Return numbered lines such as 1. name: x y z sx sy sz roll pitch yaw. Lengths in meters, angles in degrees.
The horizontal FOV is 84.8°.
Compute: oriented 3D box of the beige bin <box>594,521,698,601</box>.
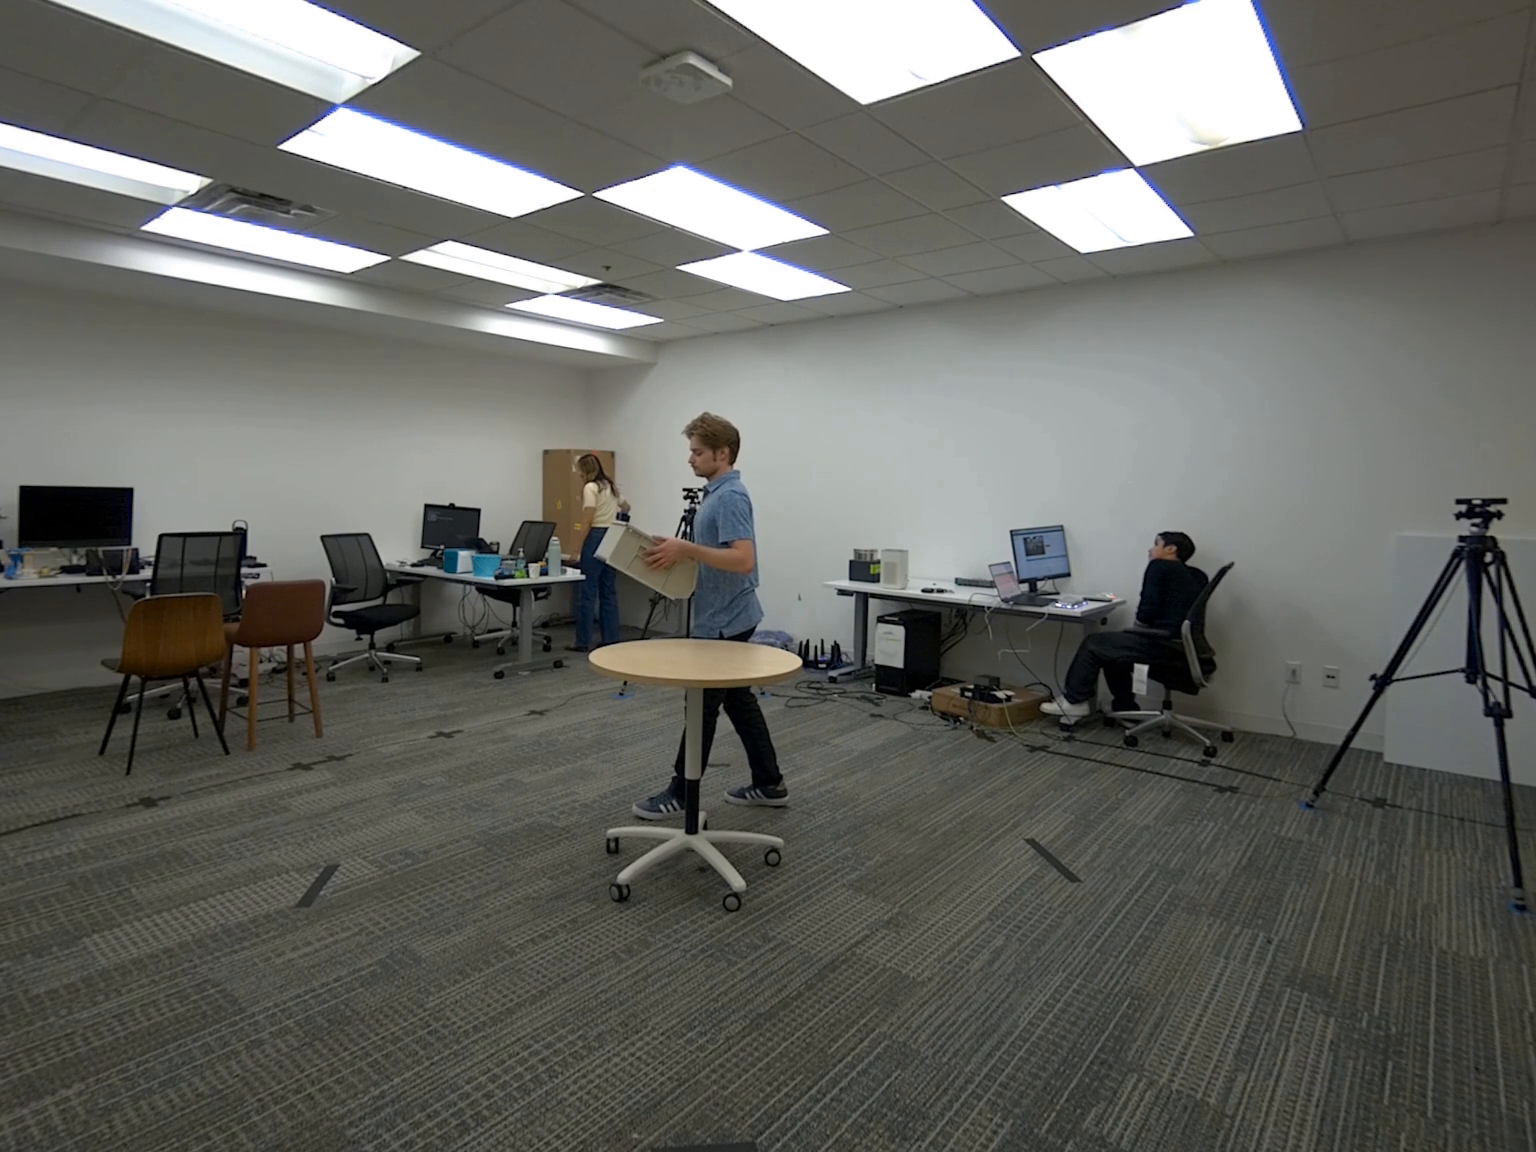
1. beige bin: -0.525 -0.069 3.610 0.369 0.189 0.431 29 -4 -17
